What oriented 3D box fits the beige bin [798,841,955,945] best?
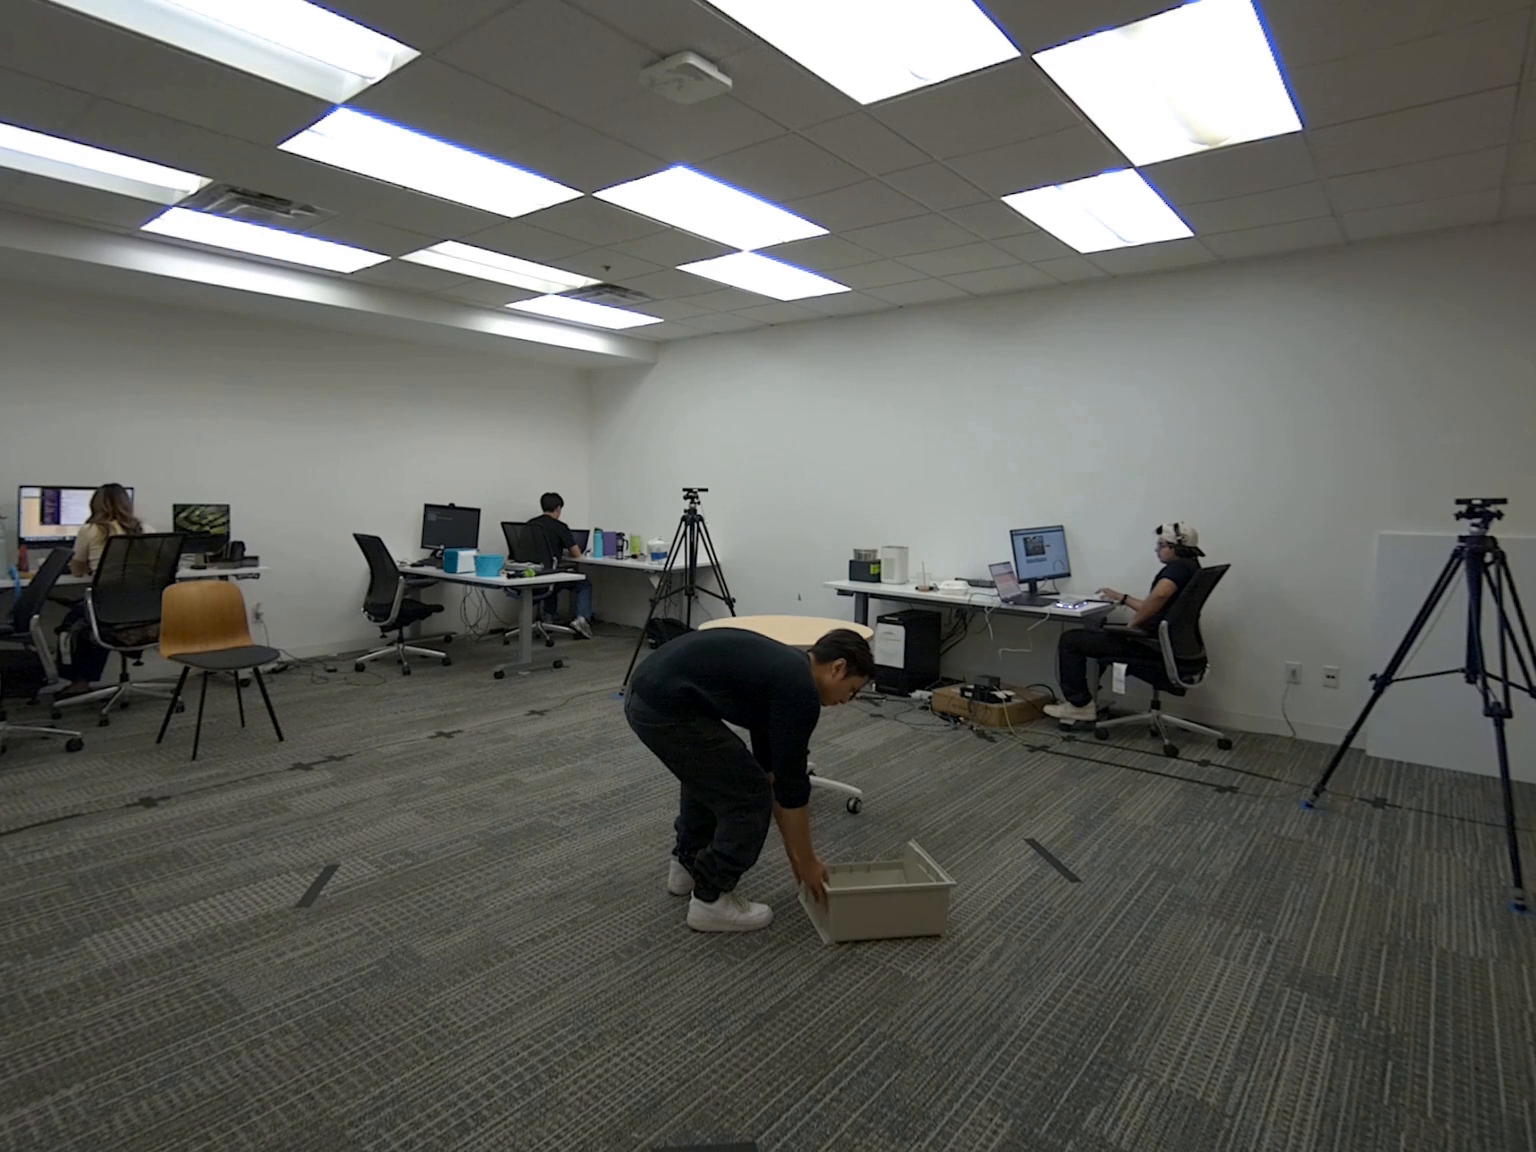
[{"bbox_3d":[0.337,1.030,2.796,0.418,0.188,0.383,1,5,-11],"label":"beige bin"}]
